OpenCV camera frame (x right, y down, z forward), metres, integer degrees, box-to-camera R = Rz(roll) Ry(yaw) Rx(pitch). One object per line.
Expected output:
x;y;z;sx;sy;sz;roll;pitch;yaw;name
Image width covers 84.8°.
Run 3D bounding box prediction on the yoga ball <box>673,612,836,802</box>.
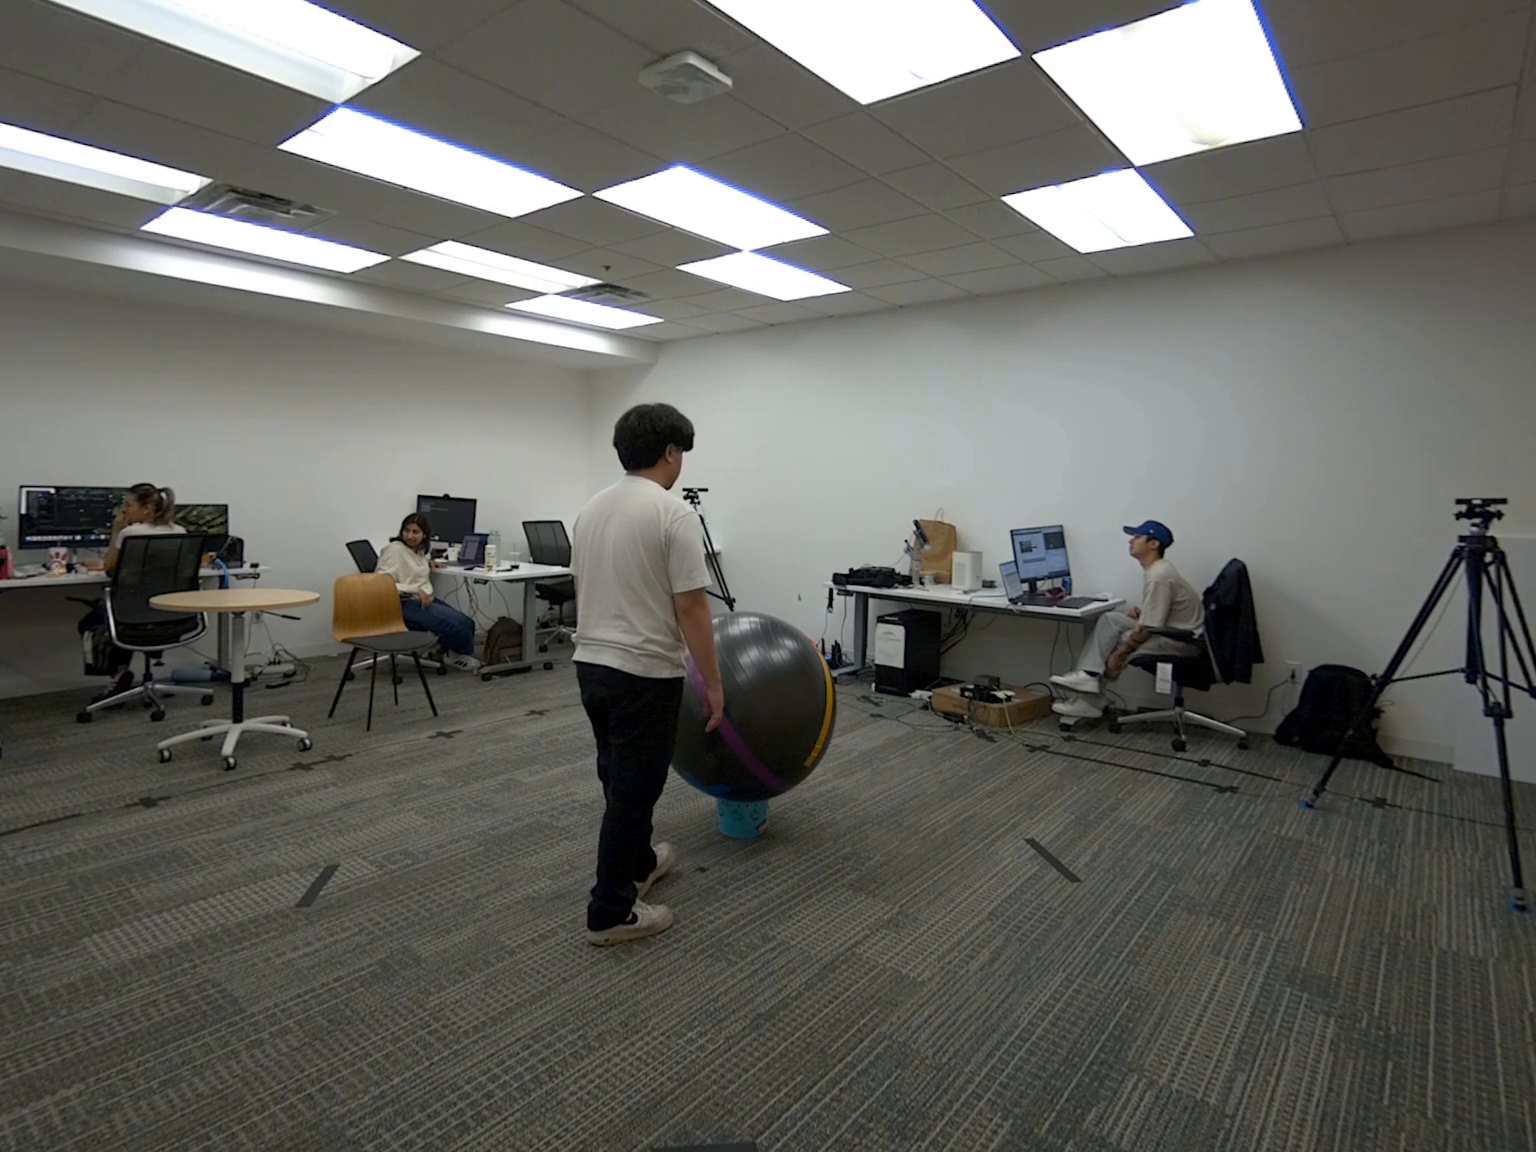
-0.105;0.523;3.469;0.757;0.755;0.762;1;4;-2;yoga ball
